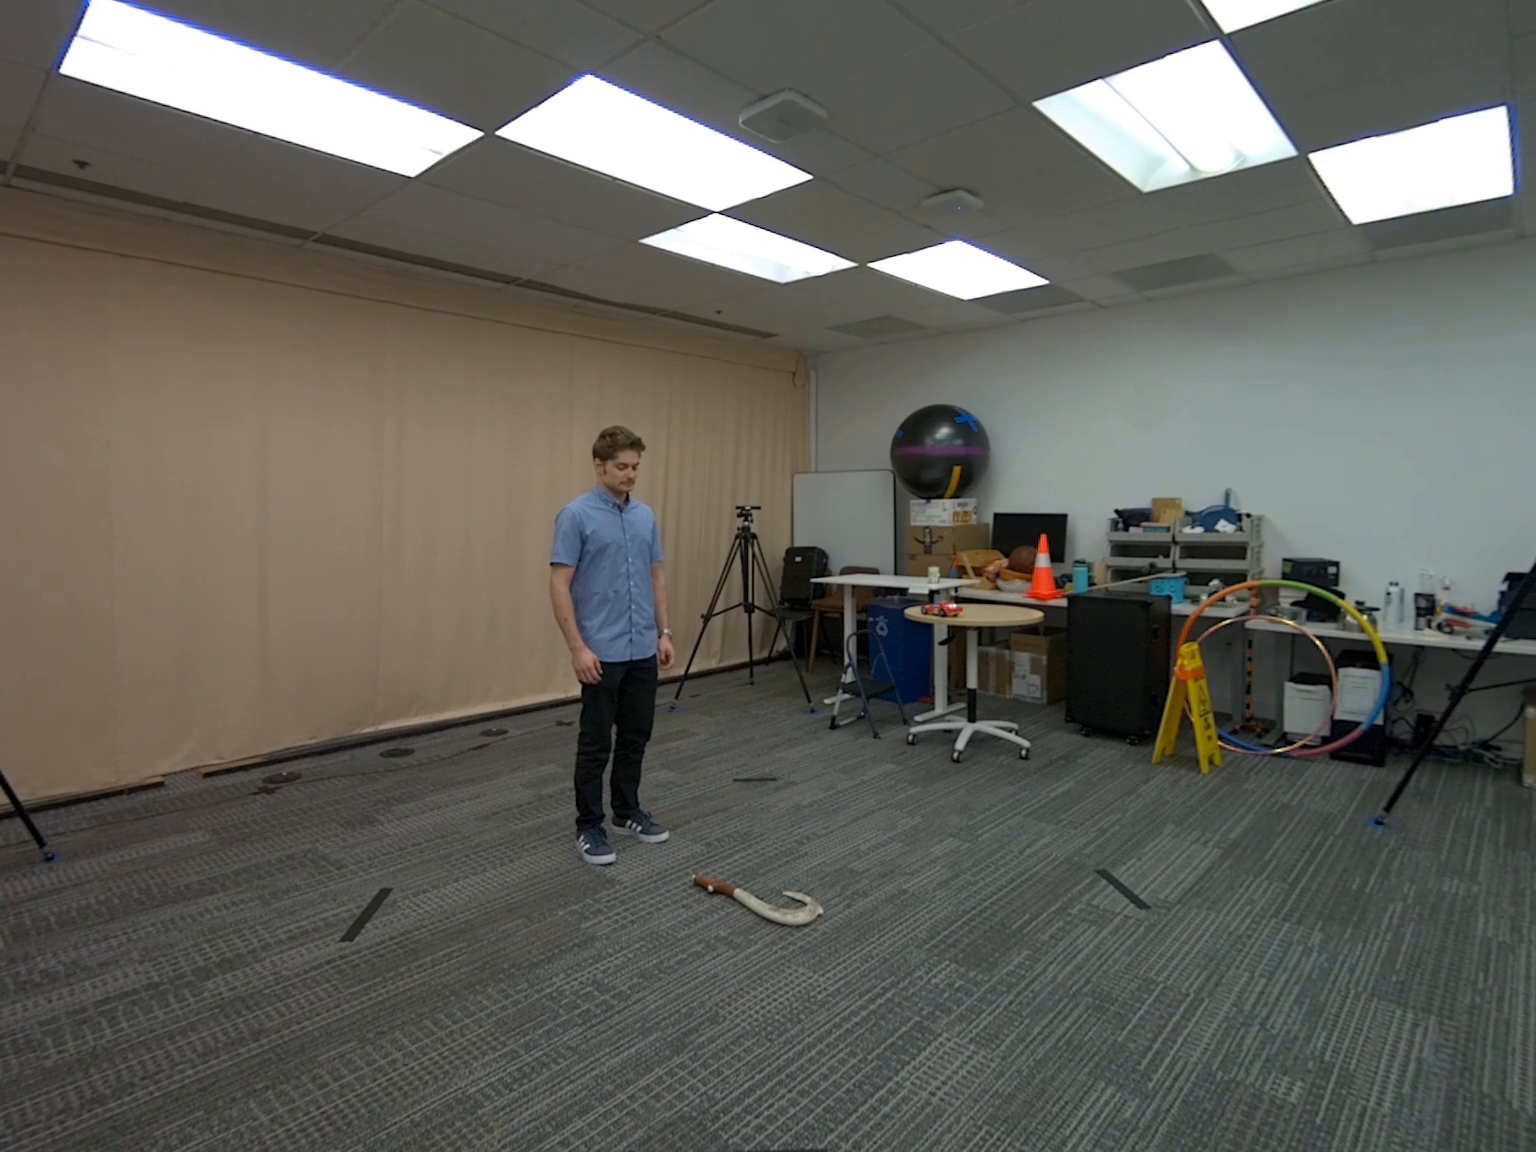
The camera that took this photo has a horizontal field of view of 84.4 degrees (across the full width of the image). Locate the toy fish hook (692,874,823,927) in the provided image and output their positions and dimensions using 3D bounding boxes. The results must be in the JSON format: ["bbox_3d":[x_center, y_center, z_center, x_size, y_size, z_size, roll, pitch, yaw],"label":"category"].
[{"bbox_3d":[-0.040,1.129,2.982,0.523,0.048,0.217,5,-2,39],"label":"toy fish hook"}]
